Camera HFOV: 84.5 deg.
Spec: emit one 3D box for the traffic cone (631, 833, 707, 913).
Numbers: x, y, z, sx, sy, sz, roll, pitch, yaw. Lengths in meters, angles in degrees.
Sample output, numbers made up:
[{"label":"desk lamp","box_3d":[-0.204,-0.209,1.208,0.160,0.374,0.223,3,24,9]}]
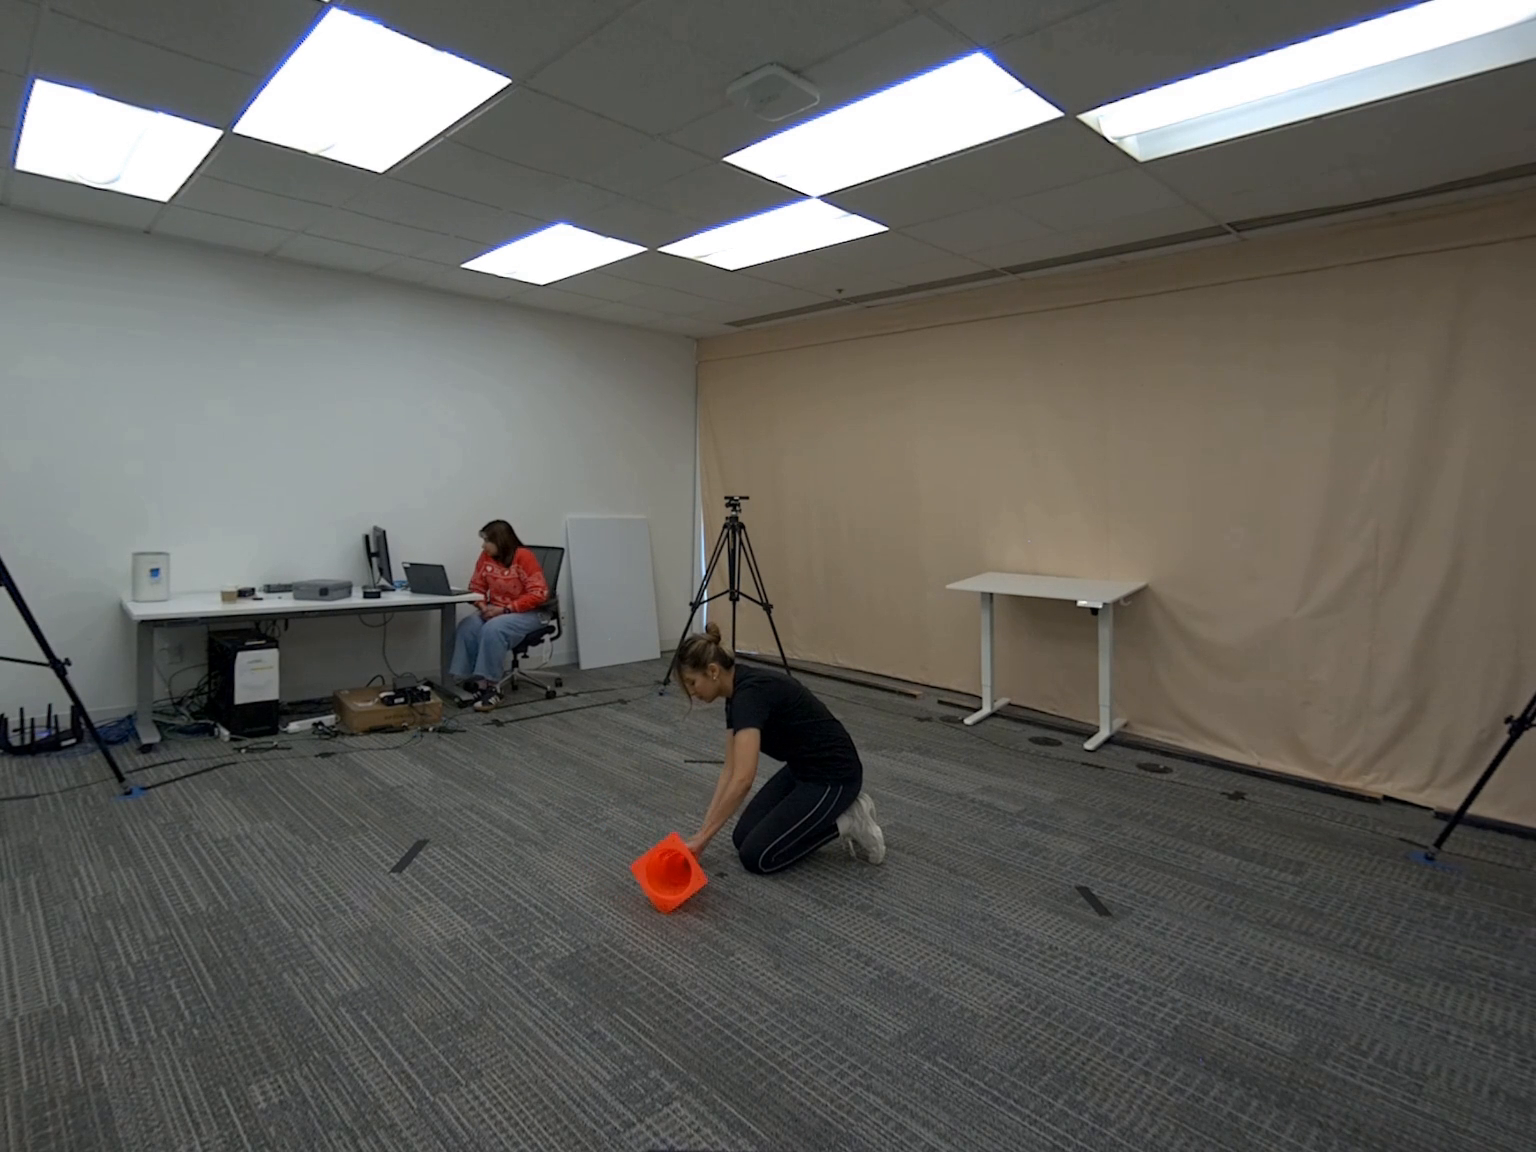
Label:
[{"label":"traffic cone","box_3d":[-0.311,1.048,2.999,0.203,0.209,0.376,-34,-17,2]}]
